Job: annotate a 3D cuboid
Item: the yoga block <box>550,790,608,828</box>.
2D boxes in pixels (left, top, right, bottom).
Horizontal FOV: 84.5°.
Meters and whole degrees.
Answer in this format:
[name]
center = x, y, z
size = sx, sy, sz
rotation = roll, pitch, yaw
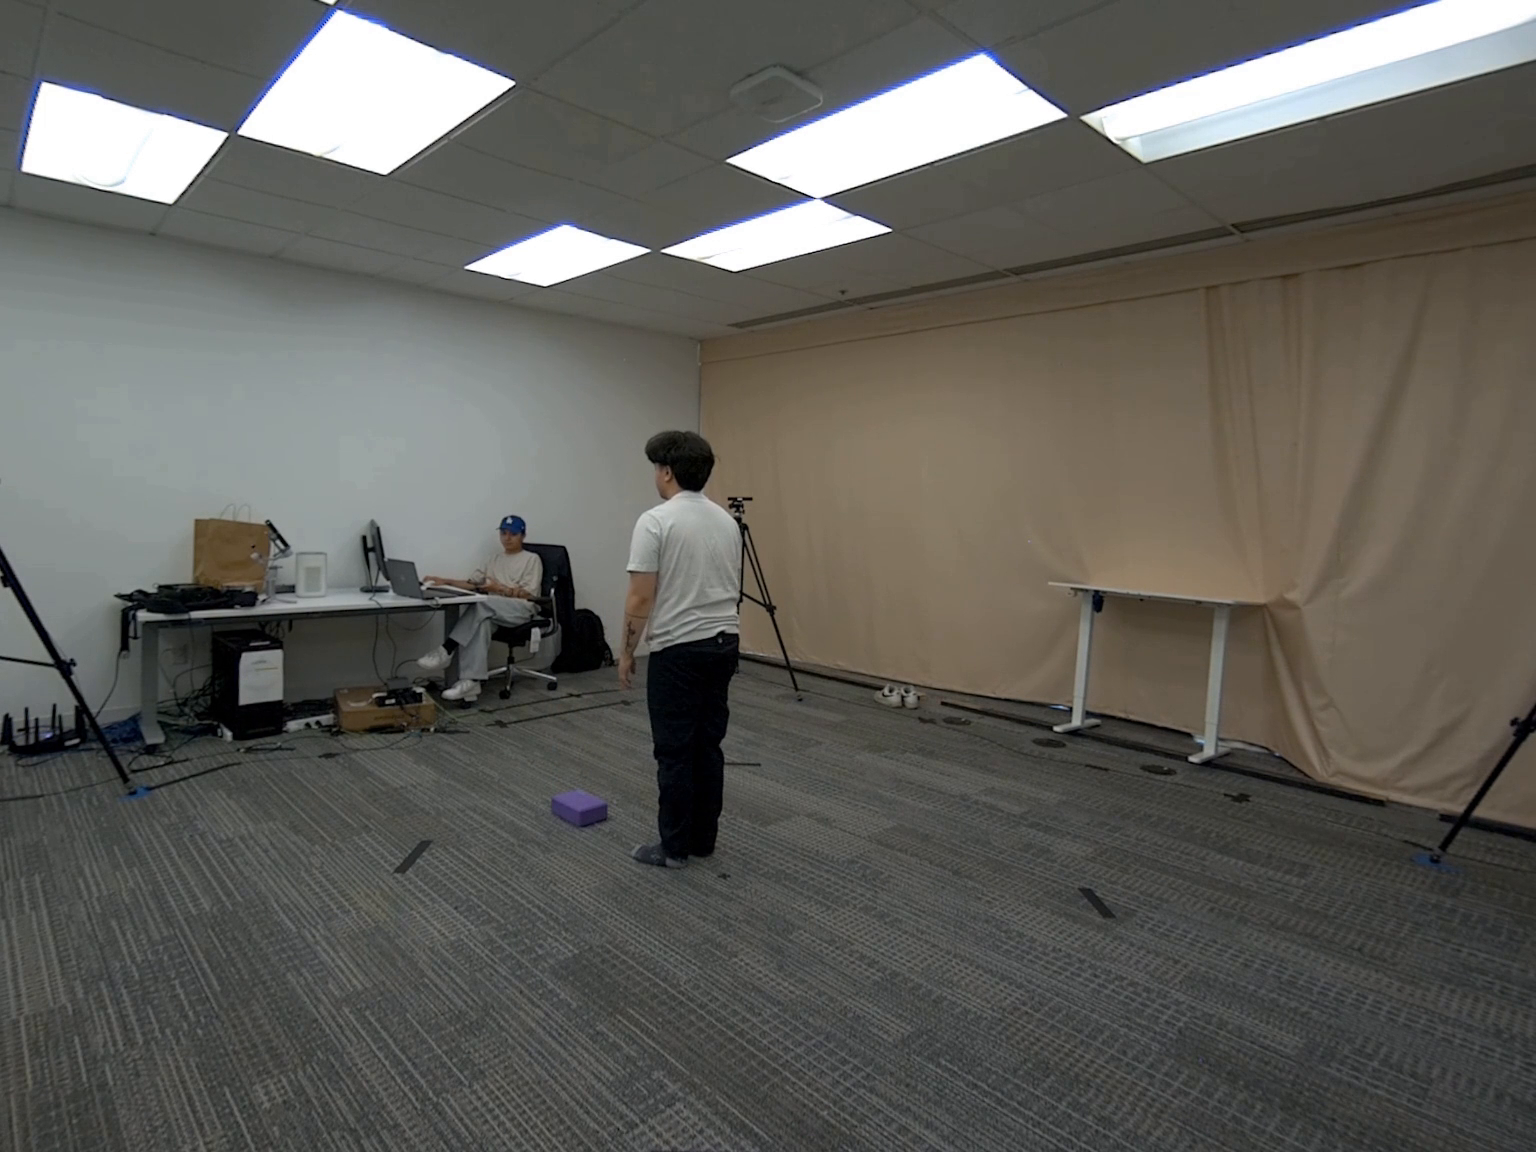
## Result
[yoga block]
center = -0.826, 1.003, 3.650
size = 0.235, 0.076, 0.146
rotation = 6, 8, 45
